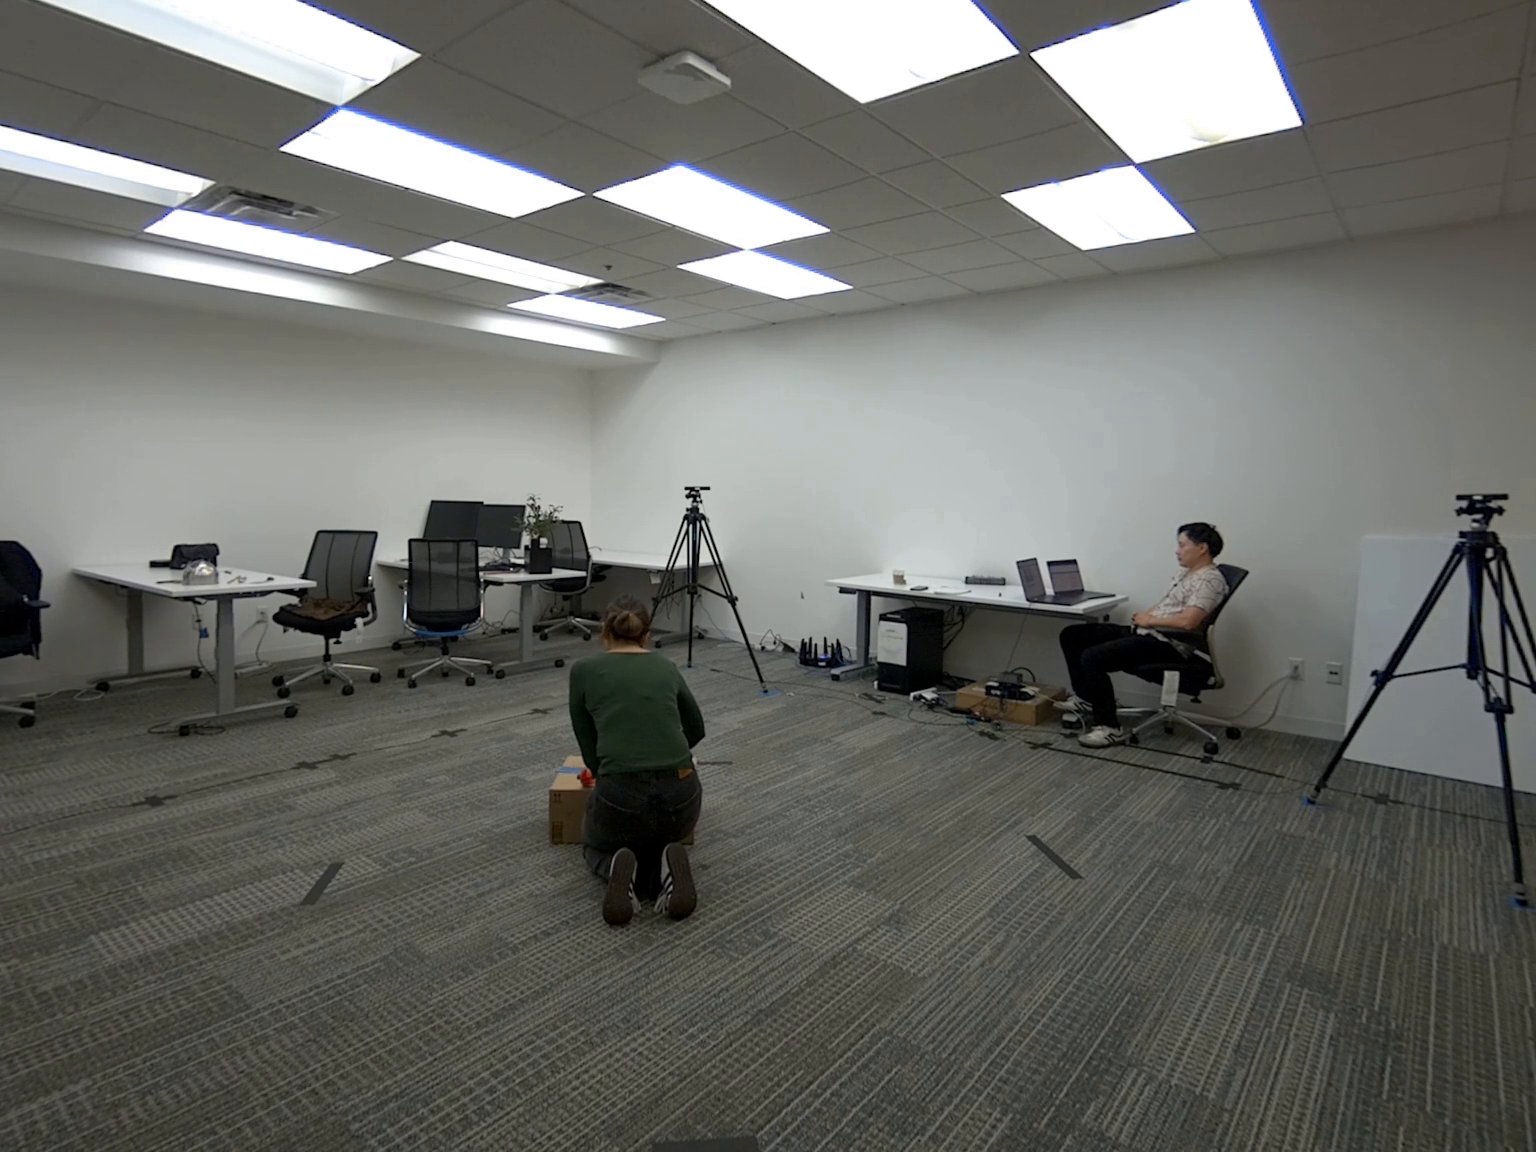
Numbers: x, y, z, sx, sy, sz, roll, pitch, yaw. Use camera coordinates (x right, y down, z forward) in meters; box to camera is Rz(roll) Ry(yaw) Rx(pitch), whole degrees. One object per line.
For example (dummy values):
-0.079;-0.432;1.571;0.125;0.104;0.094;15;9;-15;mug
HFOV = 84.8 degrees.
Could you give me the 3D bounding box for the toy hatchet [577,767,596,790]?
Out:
-0.642;0.794;3.356;0.262;0.030;0.130;13;-46;-27;toy hatchet
